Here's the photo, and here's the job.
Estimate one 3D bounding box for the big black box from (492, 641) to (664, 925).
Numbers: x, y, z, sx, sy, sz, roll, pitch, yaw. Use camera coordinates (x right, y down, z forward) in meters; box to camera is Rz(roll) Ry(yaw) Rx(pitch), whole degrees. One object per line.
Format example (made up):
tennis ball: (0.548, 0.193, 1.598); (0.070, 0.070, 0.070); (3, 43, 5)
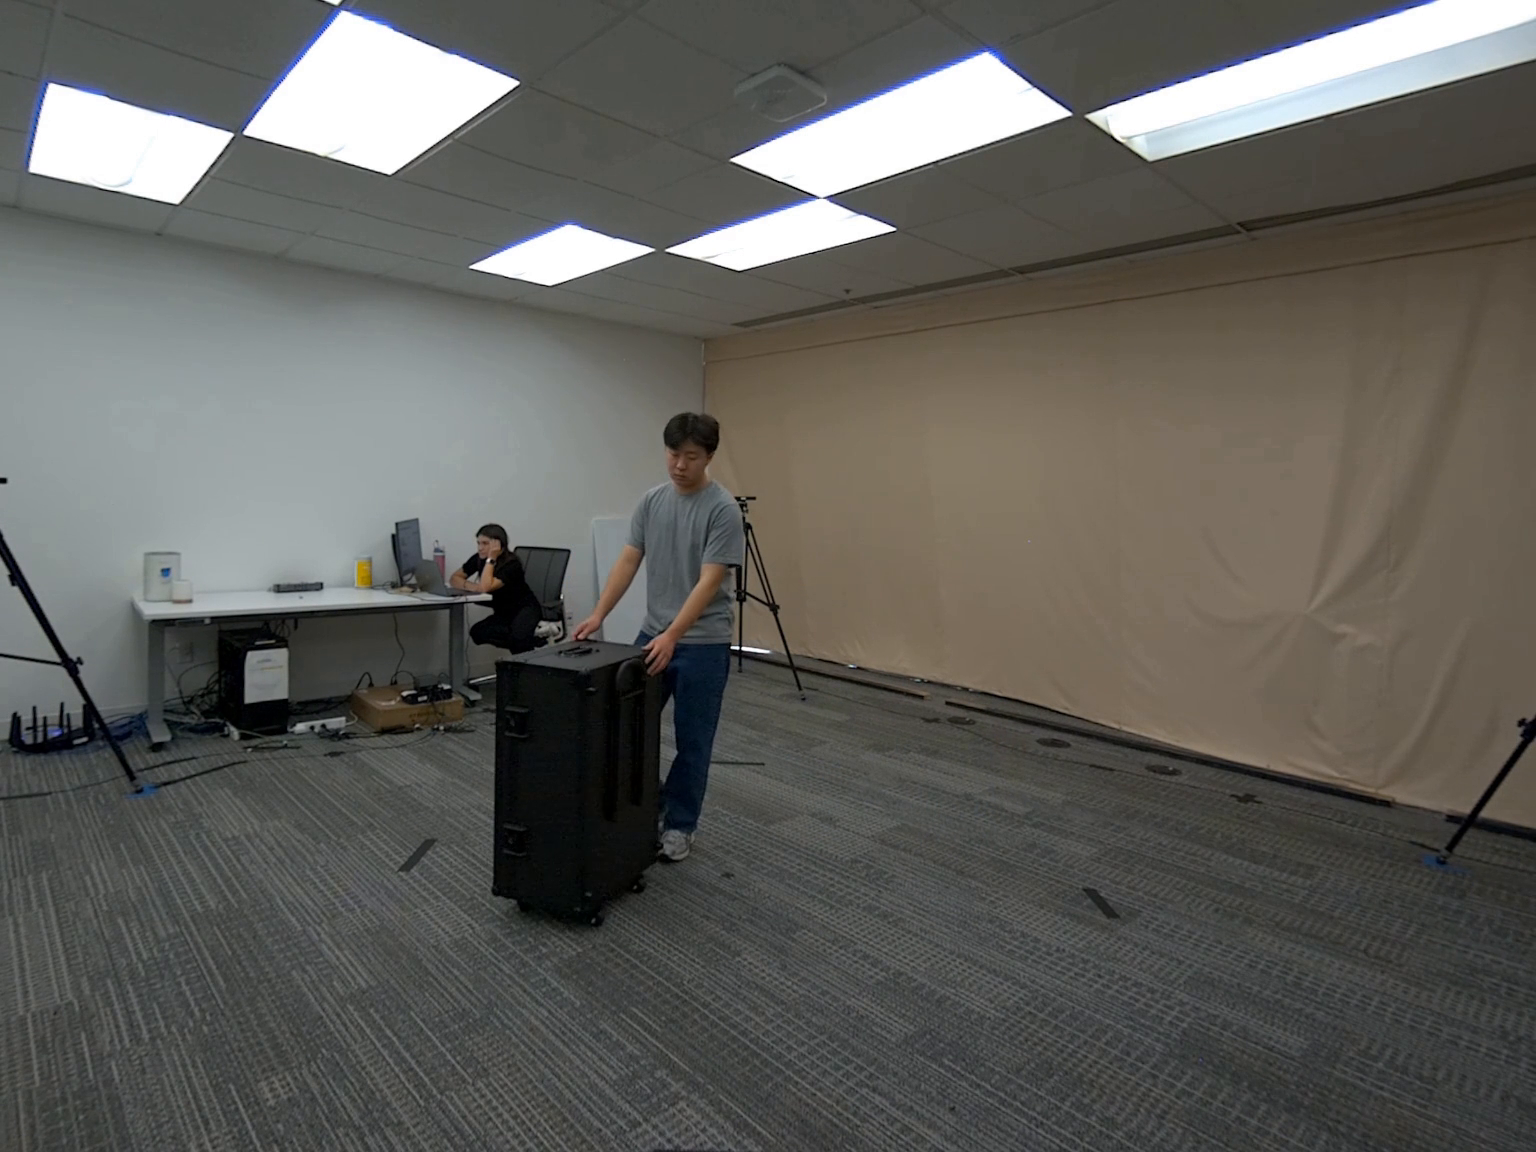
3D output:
big black box: (-0.638, 0.694, 2.887); (0.403, 0.859, 0.513); (4, 4, 23)
